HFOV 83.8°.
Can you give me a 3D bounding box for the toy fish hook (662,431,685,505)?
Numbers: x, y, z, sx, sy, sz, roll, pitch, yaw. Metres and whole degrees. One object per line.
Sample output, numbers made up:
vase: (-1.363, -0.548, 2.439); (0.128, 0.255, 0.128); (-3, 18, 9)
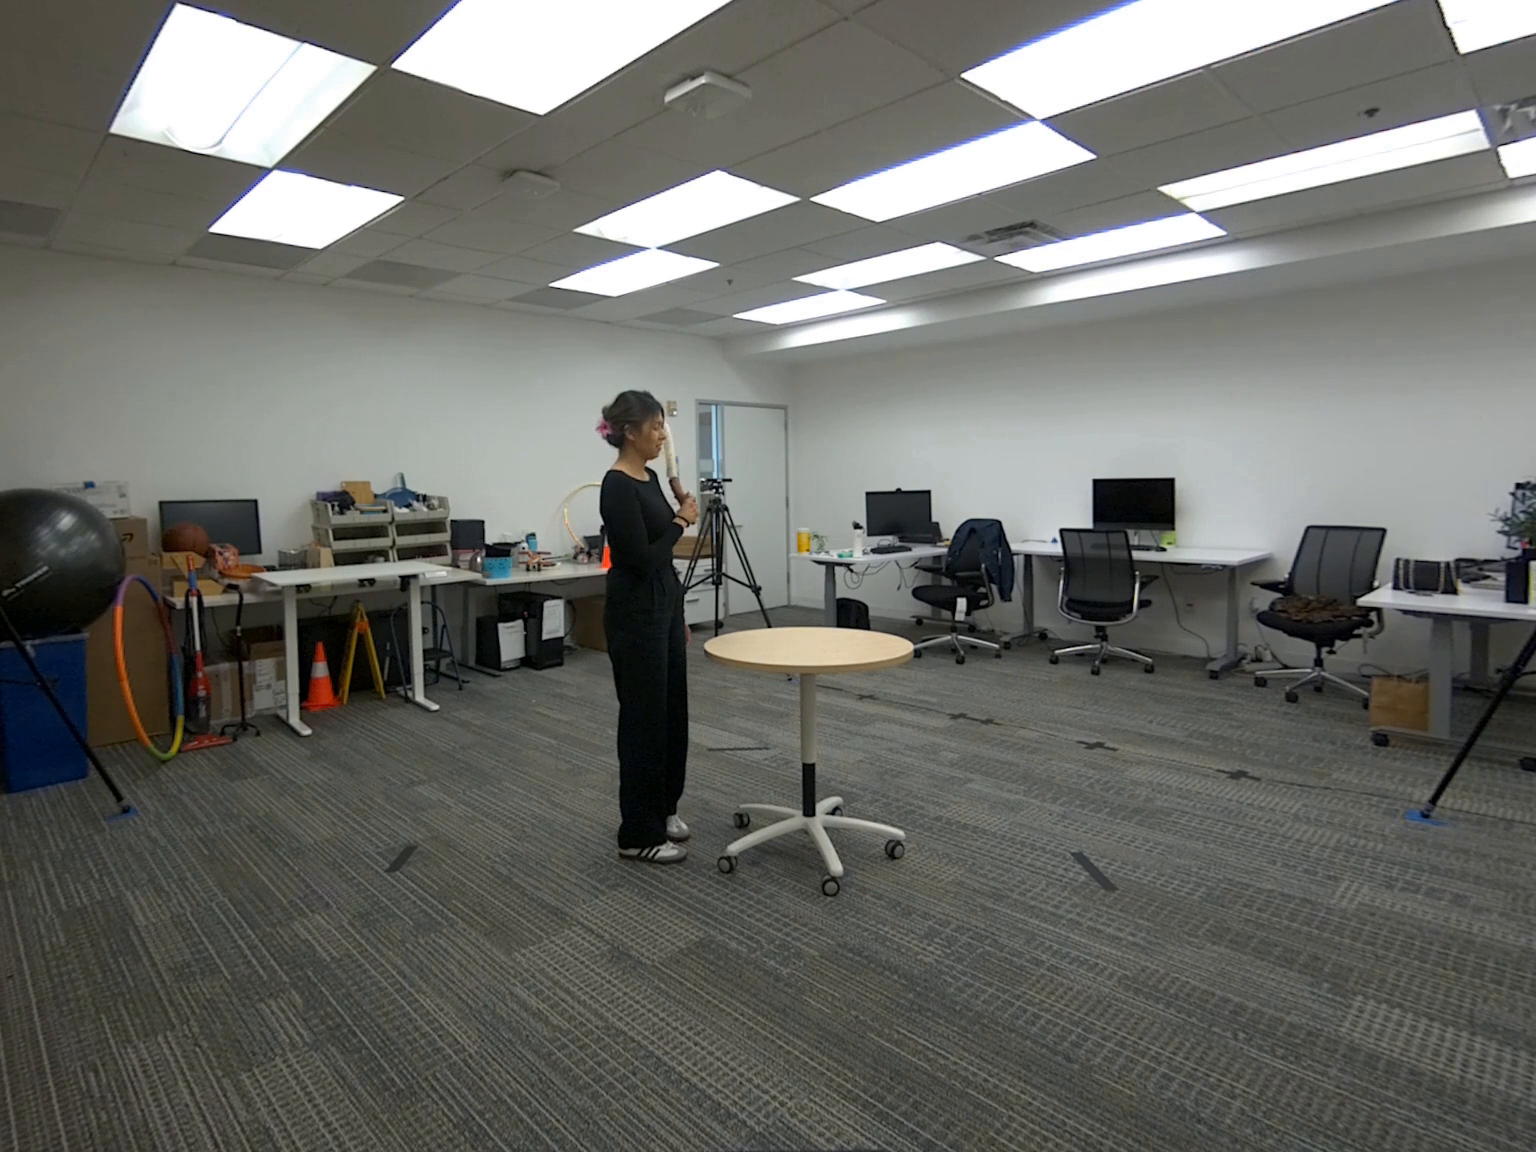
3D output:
toy fish hook: (-0.408, -0.393, 3.292); (0.226, 0.518, 0.047); (-31, -20, 23)
